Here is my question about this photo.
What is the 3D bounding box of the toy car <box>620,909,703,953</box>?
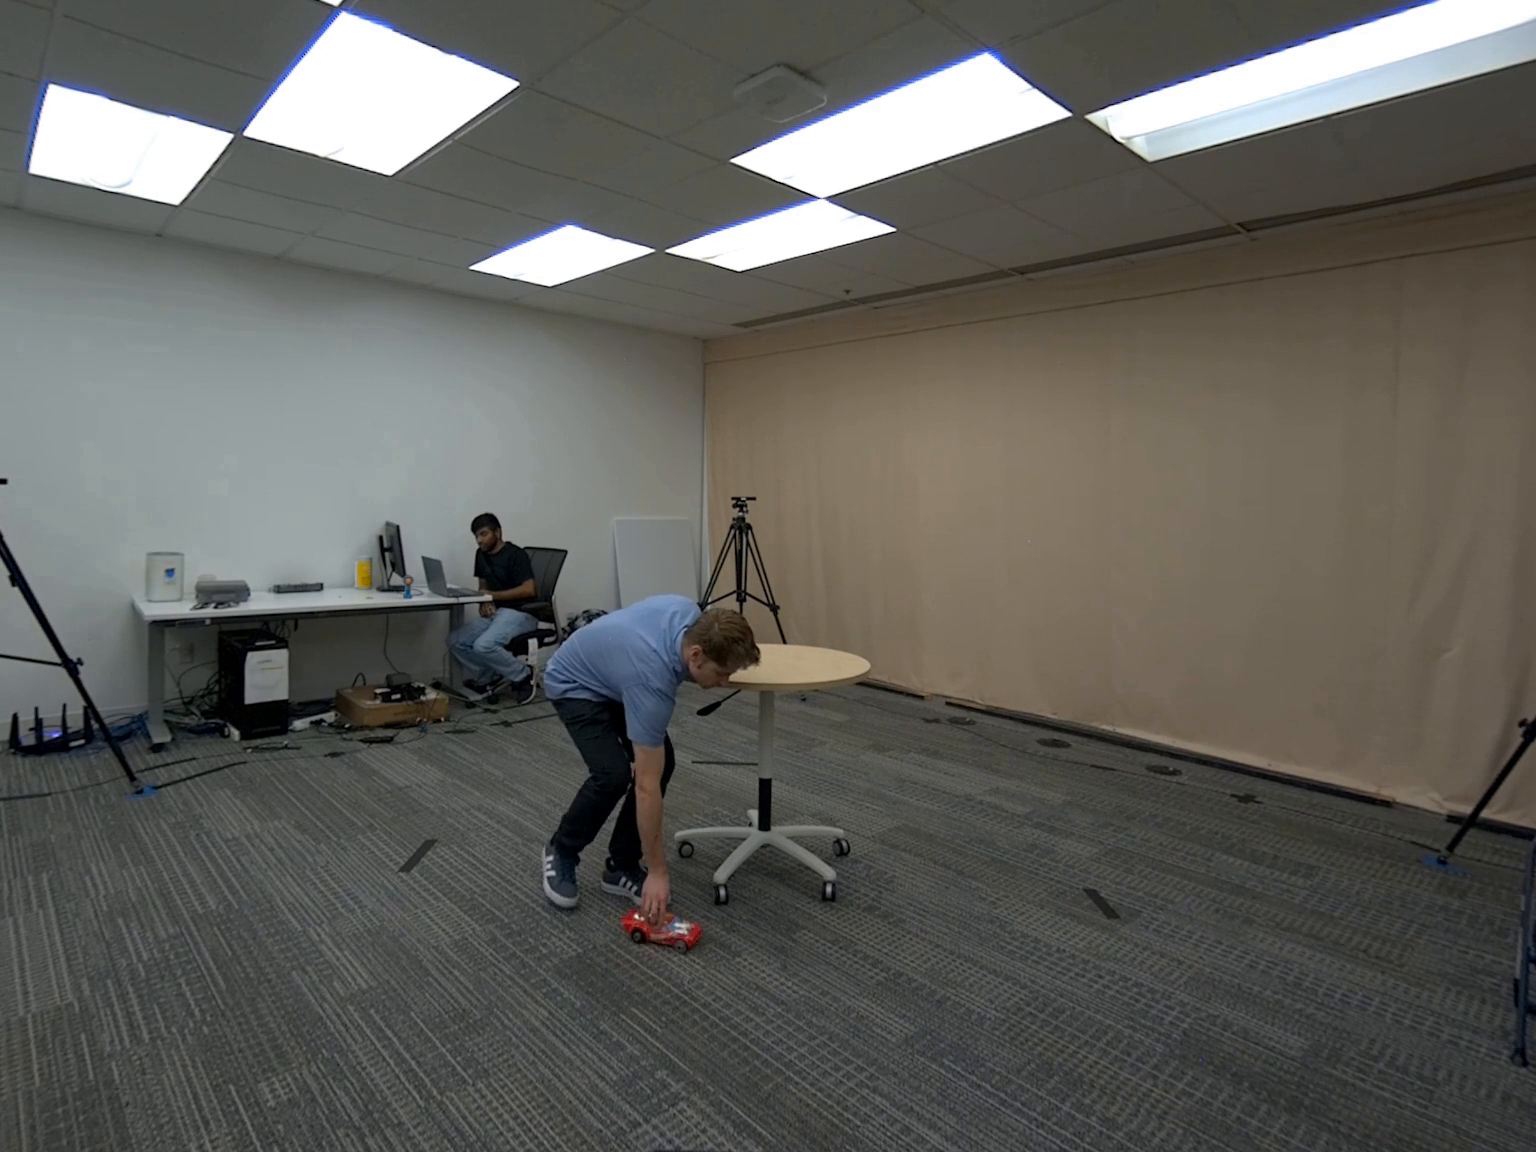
[{"bbox_3d":[-0.345,1.116,2.646,0.259,0.083,0.128,14,9,19],"label":"toy car"}]
